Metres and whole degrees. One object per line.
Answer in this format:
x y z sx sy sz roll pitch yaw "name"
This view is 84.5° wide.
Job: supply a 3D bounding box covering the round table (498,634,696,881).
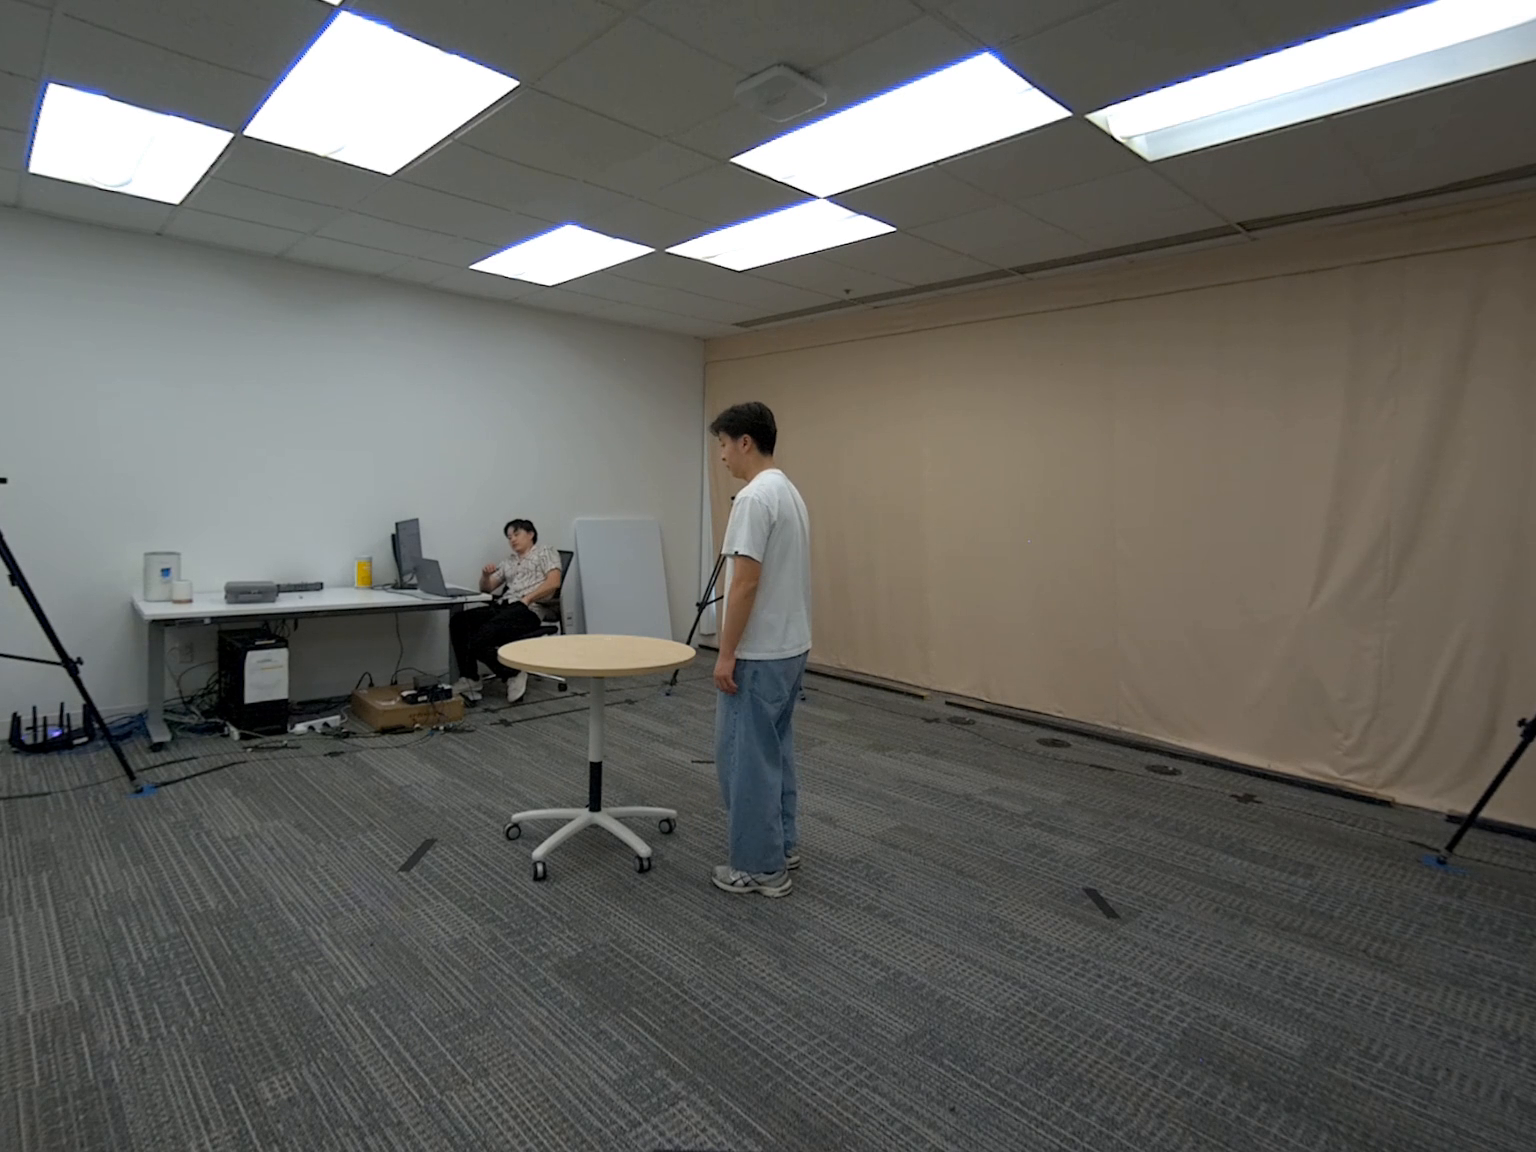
-0.683 0.684 3.330 0.763 0.792 0.766 2 3 -1 "round table"
